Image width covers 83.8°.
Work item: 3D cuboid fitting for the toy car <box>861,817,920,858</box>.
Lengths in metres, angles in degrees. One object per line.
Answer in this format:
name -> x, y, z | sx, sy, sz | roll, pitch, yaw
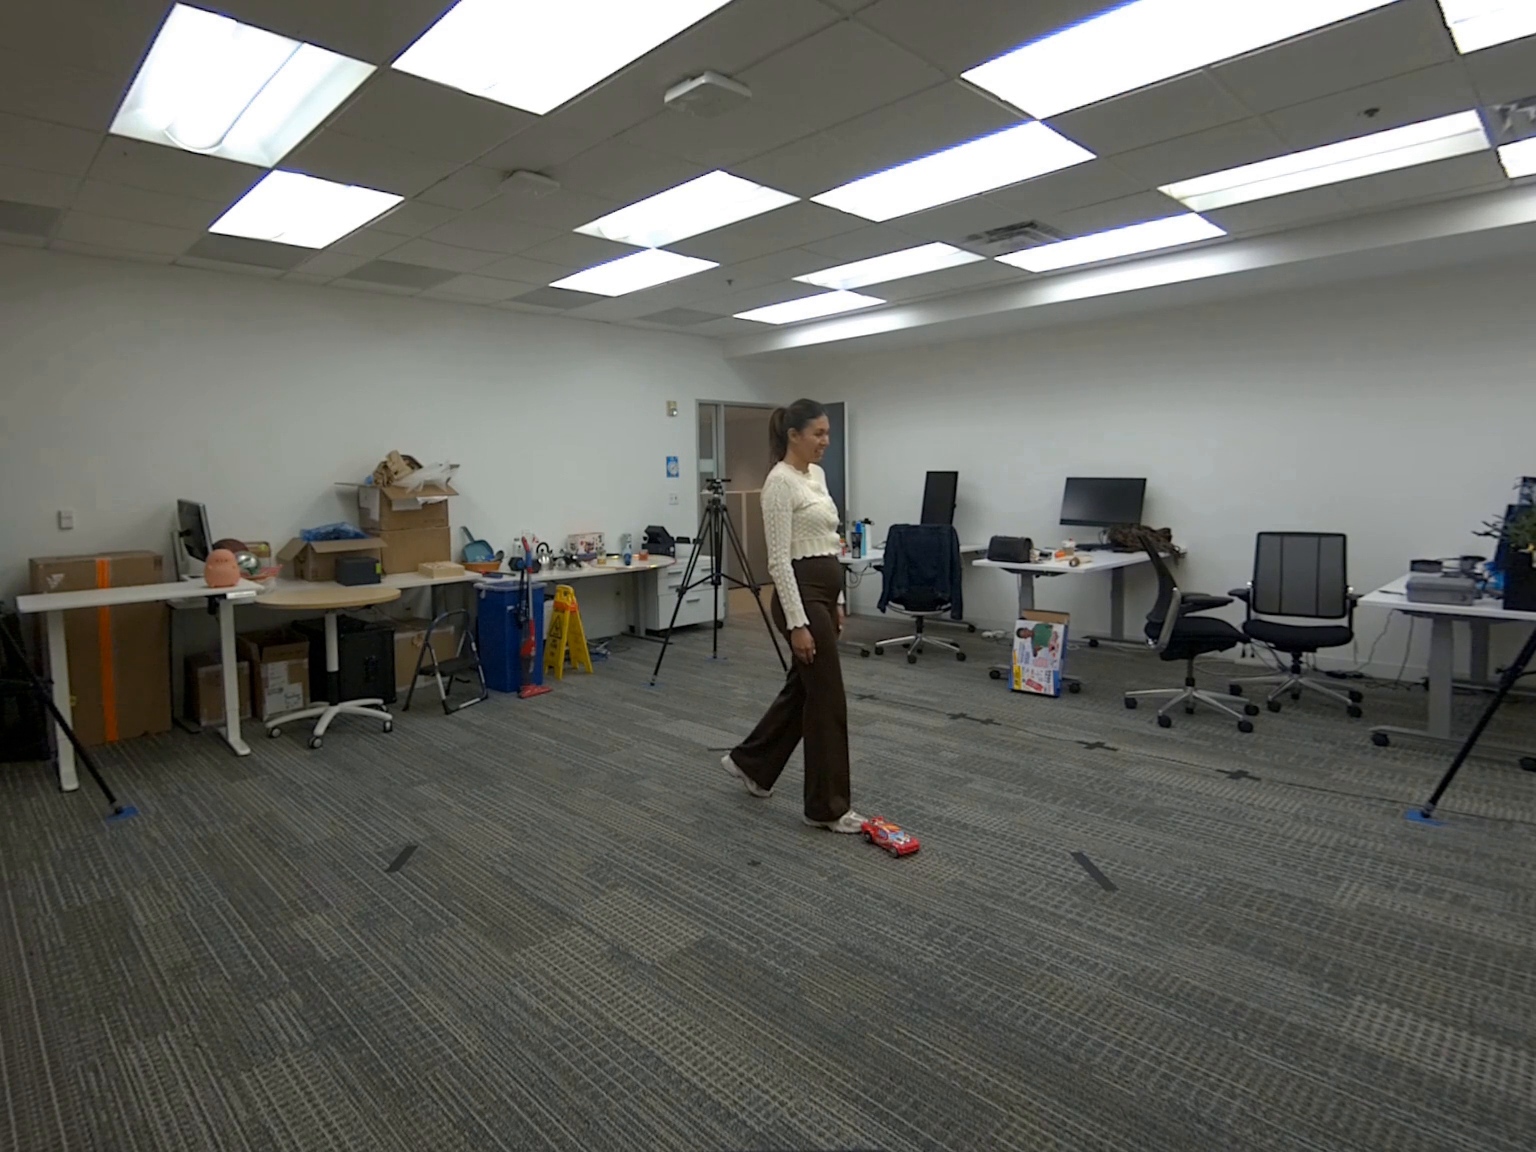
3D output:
toy car -> 0.457, 0.991, 3.236 | 0.127, 0.082, 0.263 | -3, 16, -29
